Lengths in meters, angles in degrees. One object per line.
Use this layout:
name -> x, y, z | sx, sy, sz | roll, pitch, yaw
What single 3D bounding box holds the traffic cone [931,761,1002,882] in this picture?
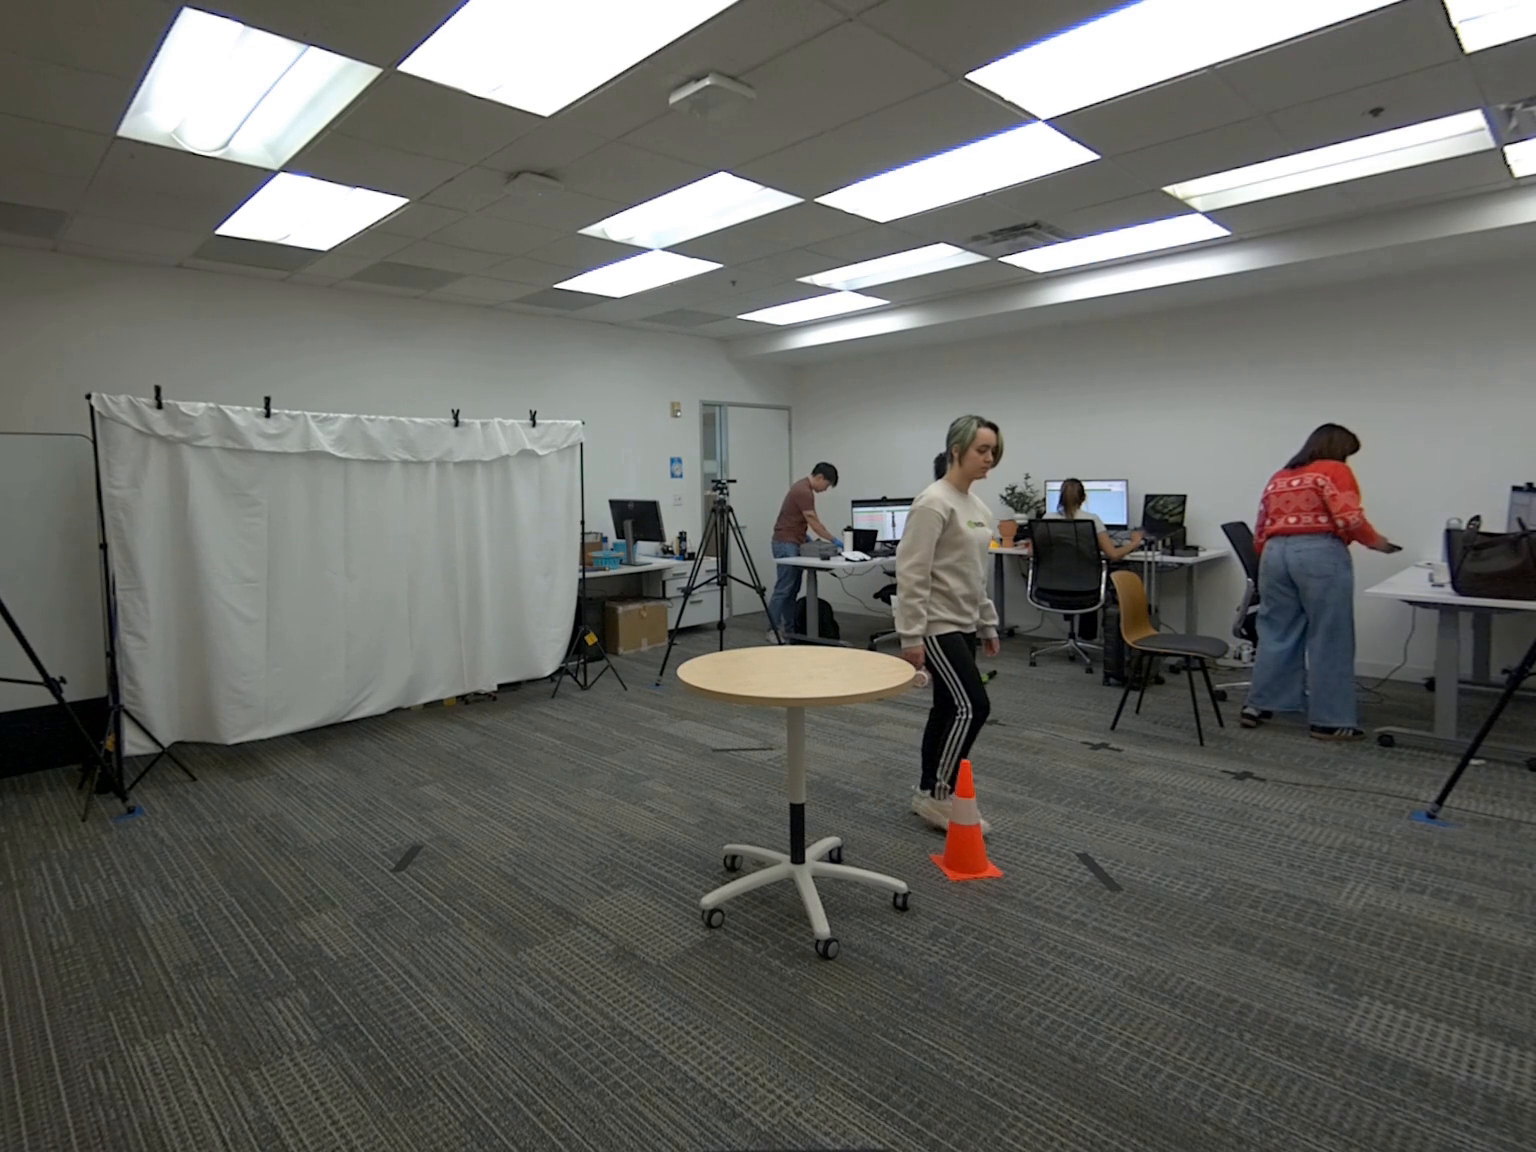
traffic cone -> 0.717, 0.857, 3.055 | 0.203, 0.382, 0.206 | 0, 4, -11
